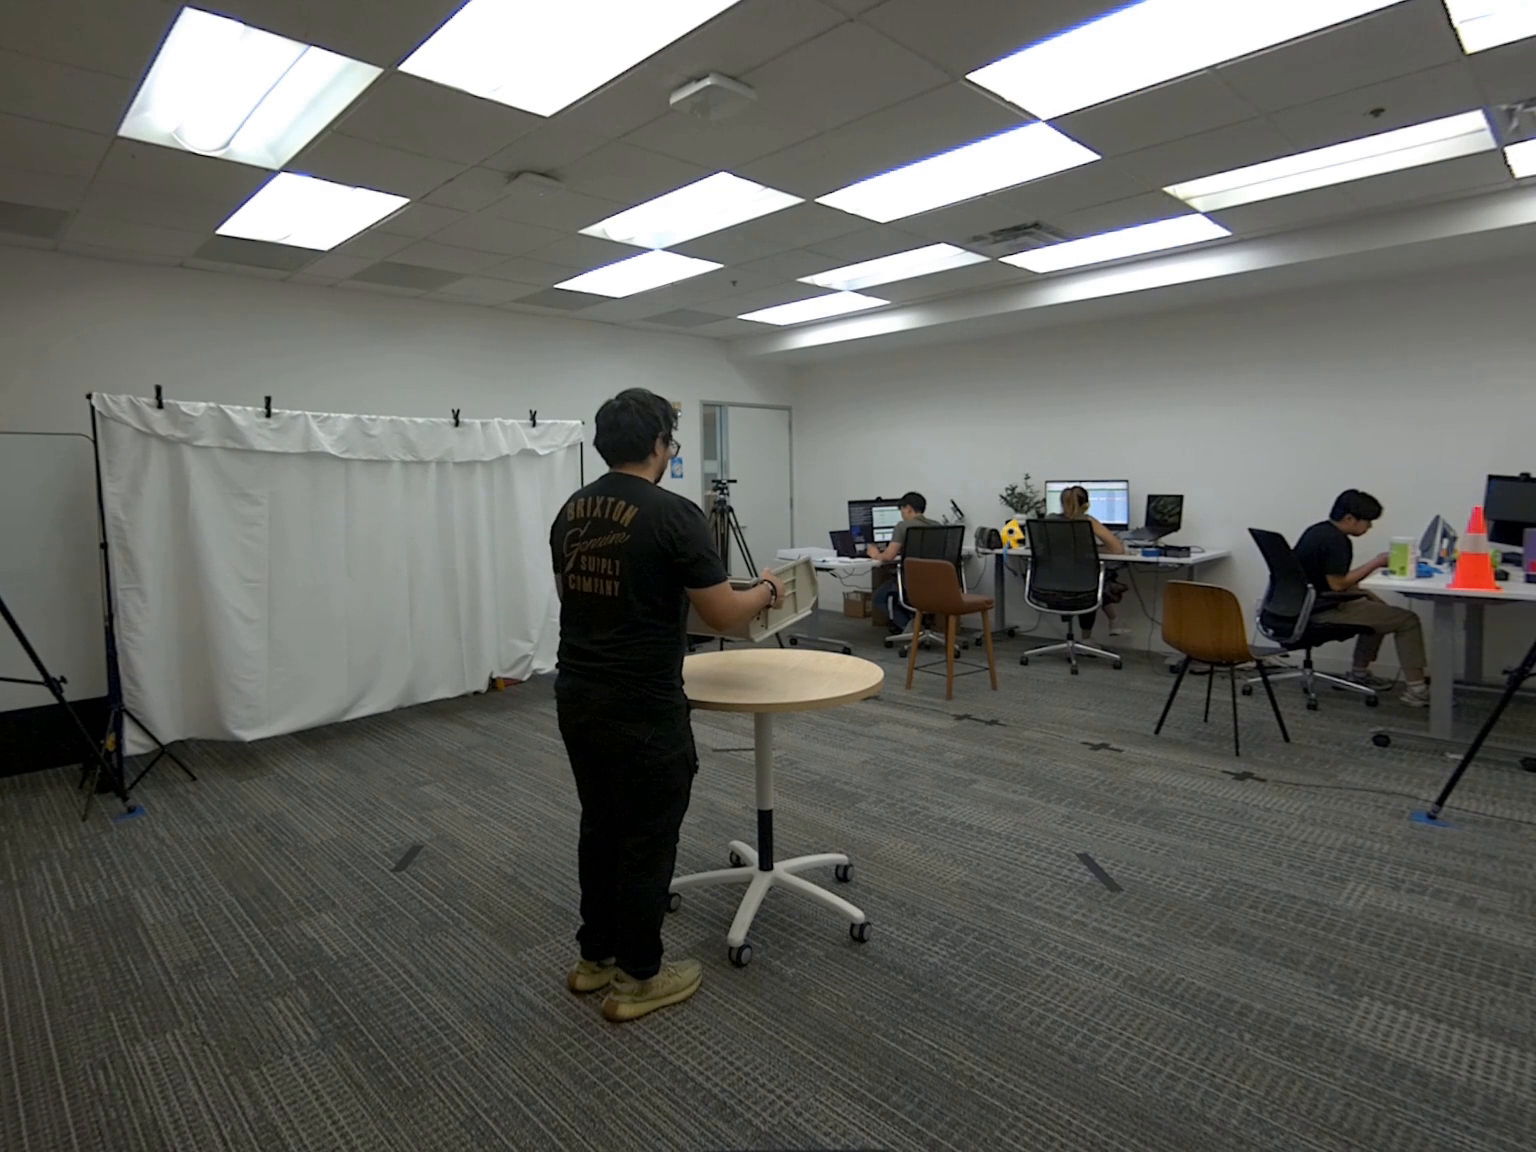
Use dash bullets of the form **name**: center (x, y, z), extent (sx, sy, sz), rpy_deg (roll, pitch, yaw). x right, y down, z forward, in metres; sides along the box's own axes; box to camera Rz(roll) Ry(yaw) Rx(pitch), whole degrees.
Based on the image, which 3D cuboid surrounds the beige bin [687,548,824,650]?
- **beige bin**: center (-0.118, 0.053, 2.633), extent (0.434, 0.187, 0.371), rpy_deg (3, 16, 35)
